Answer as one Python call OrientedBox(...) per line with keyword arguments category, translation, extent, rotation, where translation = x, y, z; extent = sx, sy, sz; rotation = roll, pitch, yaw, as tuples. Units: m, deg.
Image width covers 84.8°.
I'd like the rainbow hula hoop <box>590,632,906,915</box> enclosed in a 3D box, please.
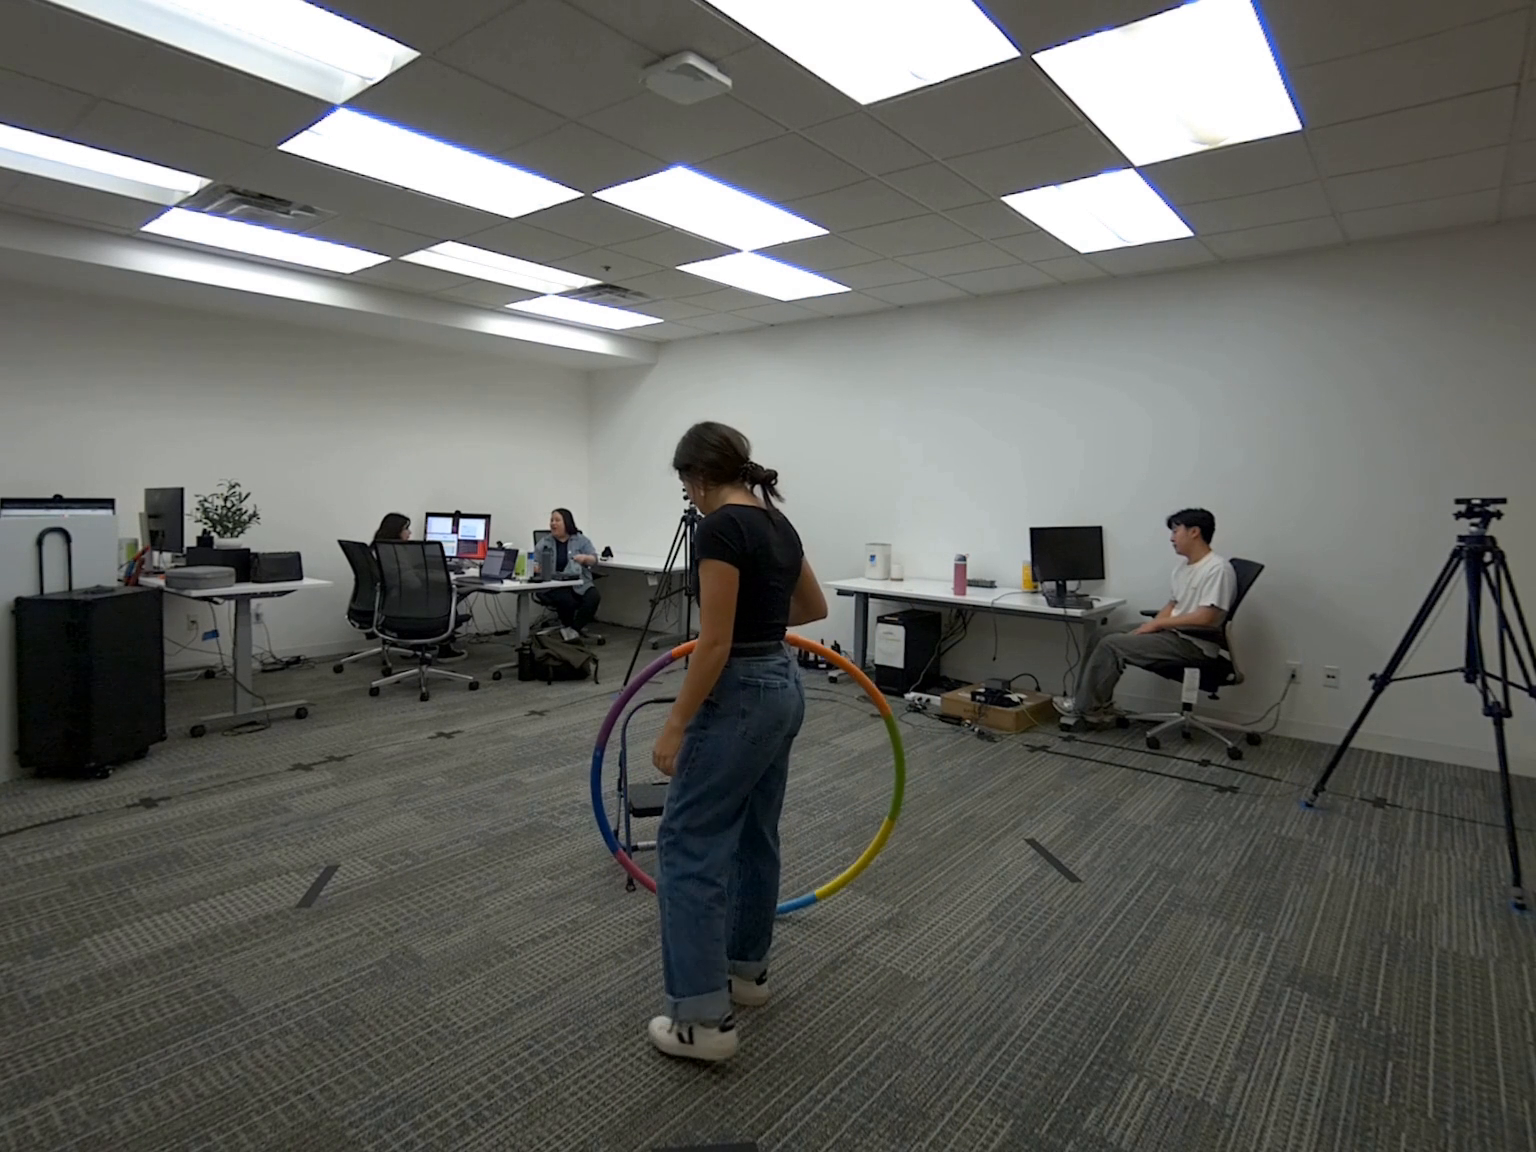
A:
OrientedBox(category="rainbow hula hoop", translation=(-0.056, 0.630, 2.632), extent=(0.976, 0.966, 0.036), rotation=(1, 14, -2))
